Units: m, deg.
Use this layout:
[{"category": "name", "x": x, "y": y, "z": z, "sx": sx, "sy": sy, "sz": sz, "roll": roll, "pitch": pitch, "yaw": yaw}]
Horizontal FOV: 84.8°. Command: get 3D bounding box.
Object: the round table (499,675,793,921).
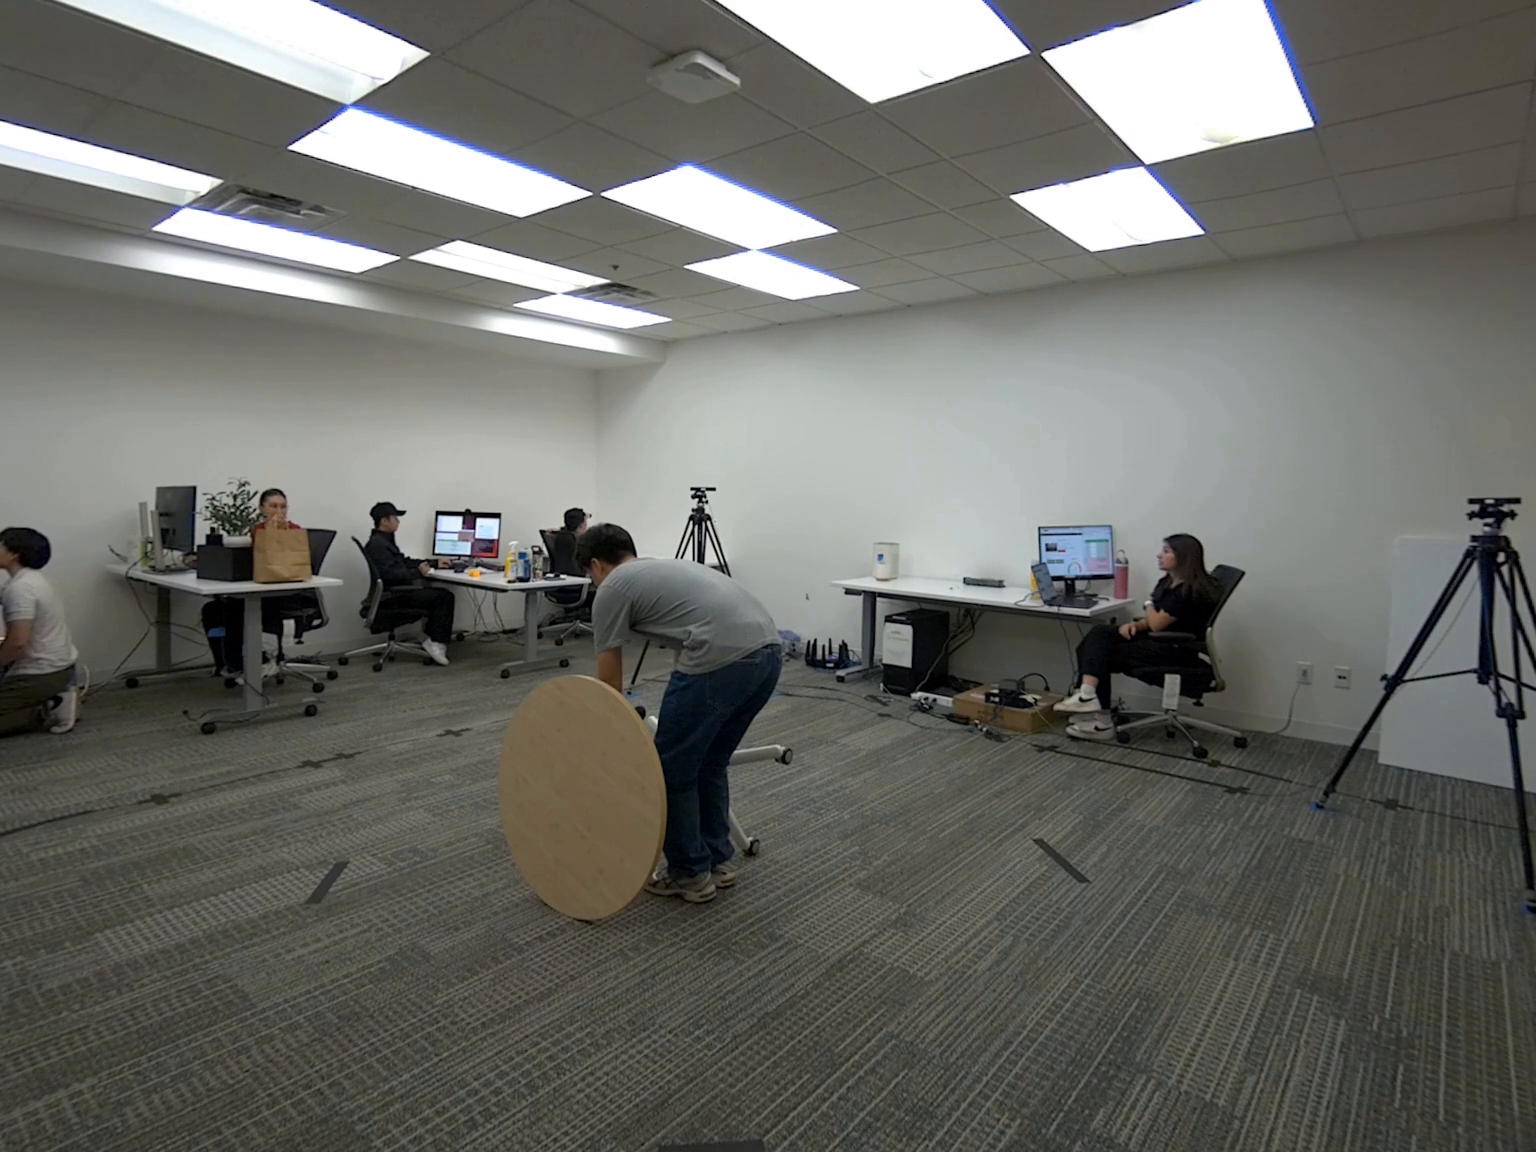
[{"category": "round table", "x": -0.430, "y": 0.725, "z": 3.082, "sx": 0.789, "sy": 0.765, "sz": 0.768, "roll": 4, "pitch": -1, "yaw": 36}]
